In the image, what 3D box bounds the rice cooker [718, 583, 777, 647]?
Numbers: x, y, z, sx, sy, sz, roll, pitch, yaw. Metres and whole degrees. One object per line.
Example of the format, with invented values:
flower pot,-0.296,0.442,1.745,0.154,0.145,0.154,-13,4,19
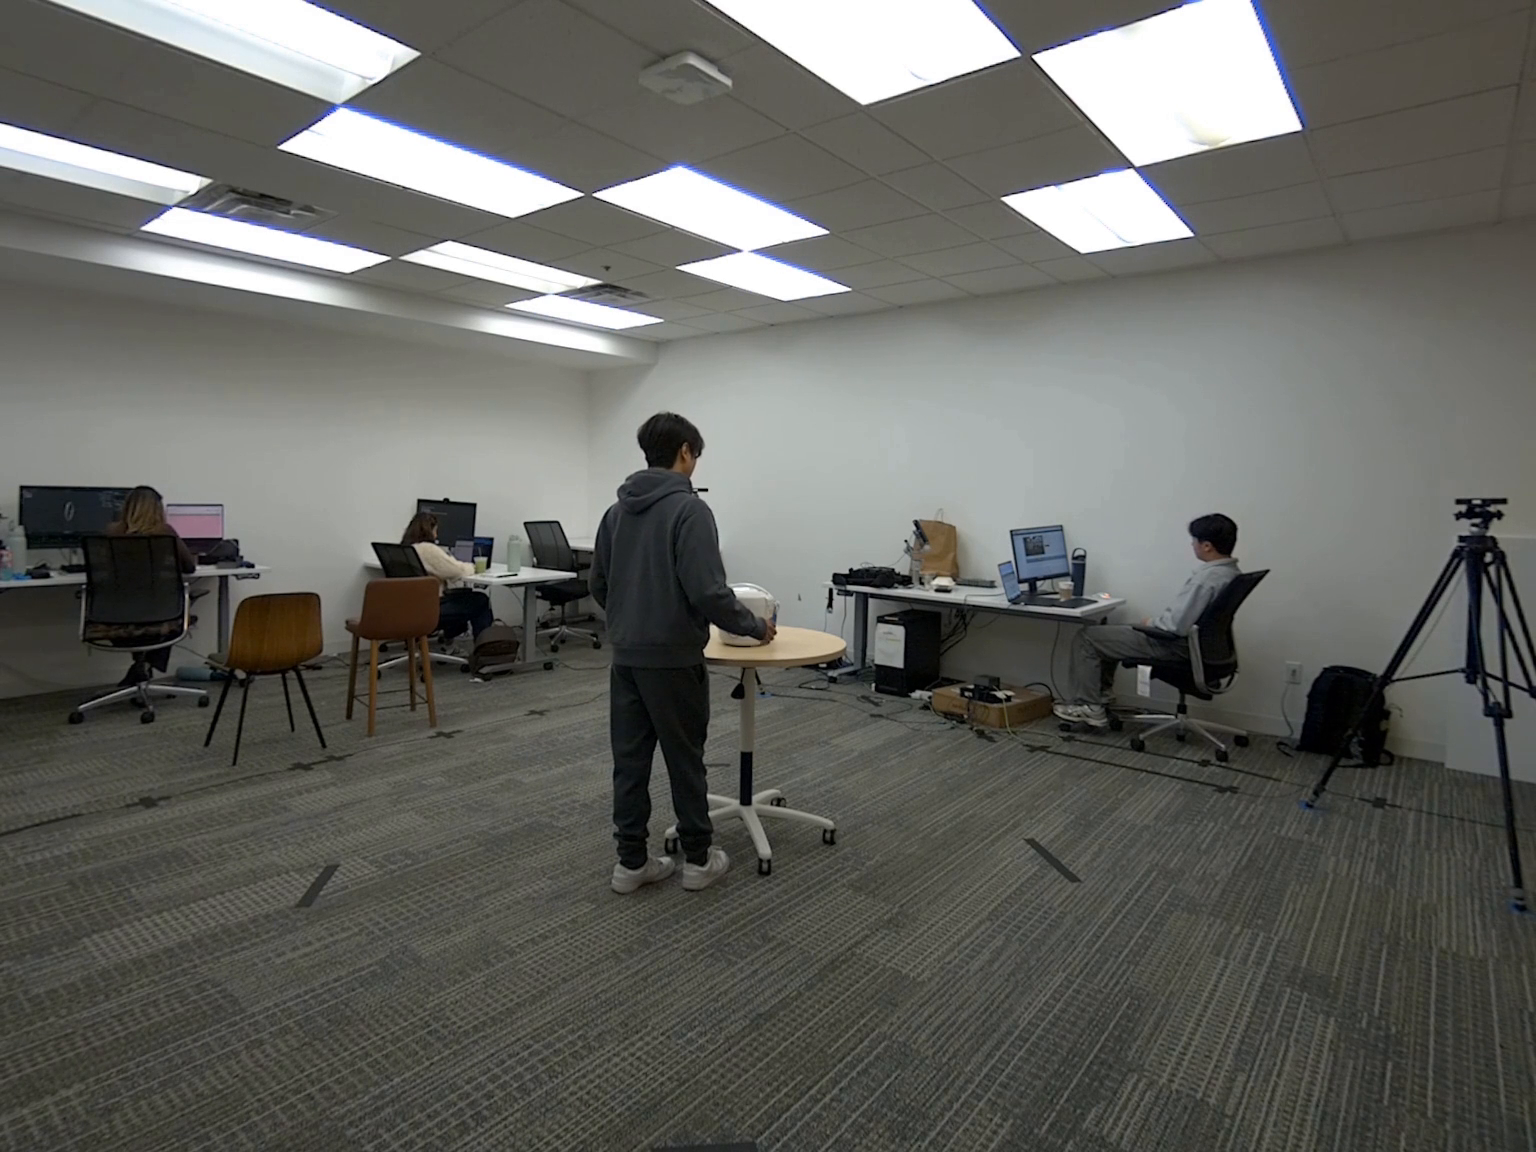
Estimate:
rice cooker,-0.096,0.143,3.291,0.226,0.232,0.213,3,4,23
